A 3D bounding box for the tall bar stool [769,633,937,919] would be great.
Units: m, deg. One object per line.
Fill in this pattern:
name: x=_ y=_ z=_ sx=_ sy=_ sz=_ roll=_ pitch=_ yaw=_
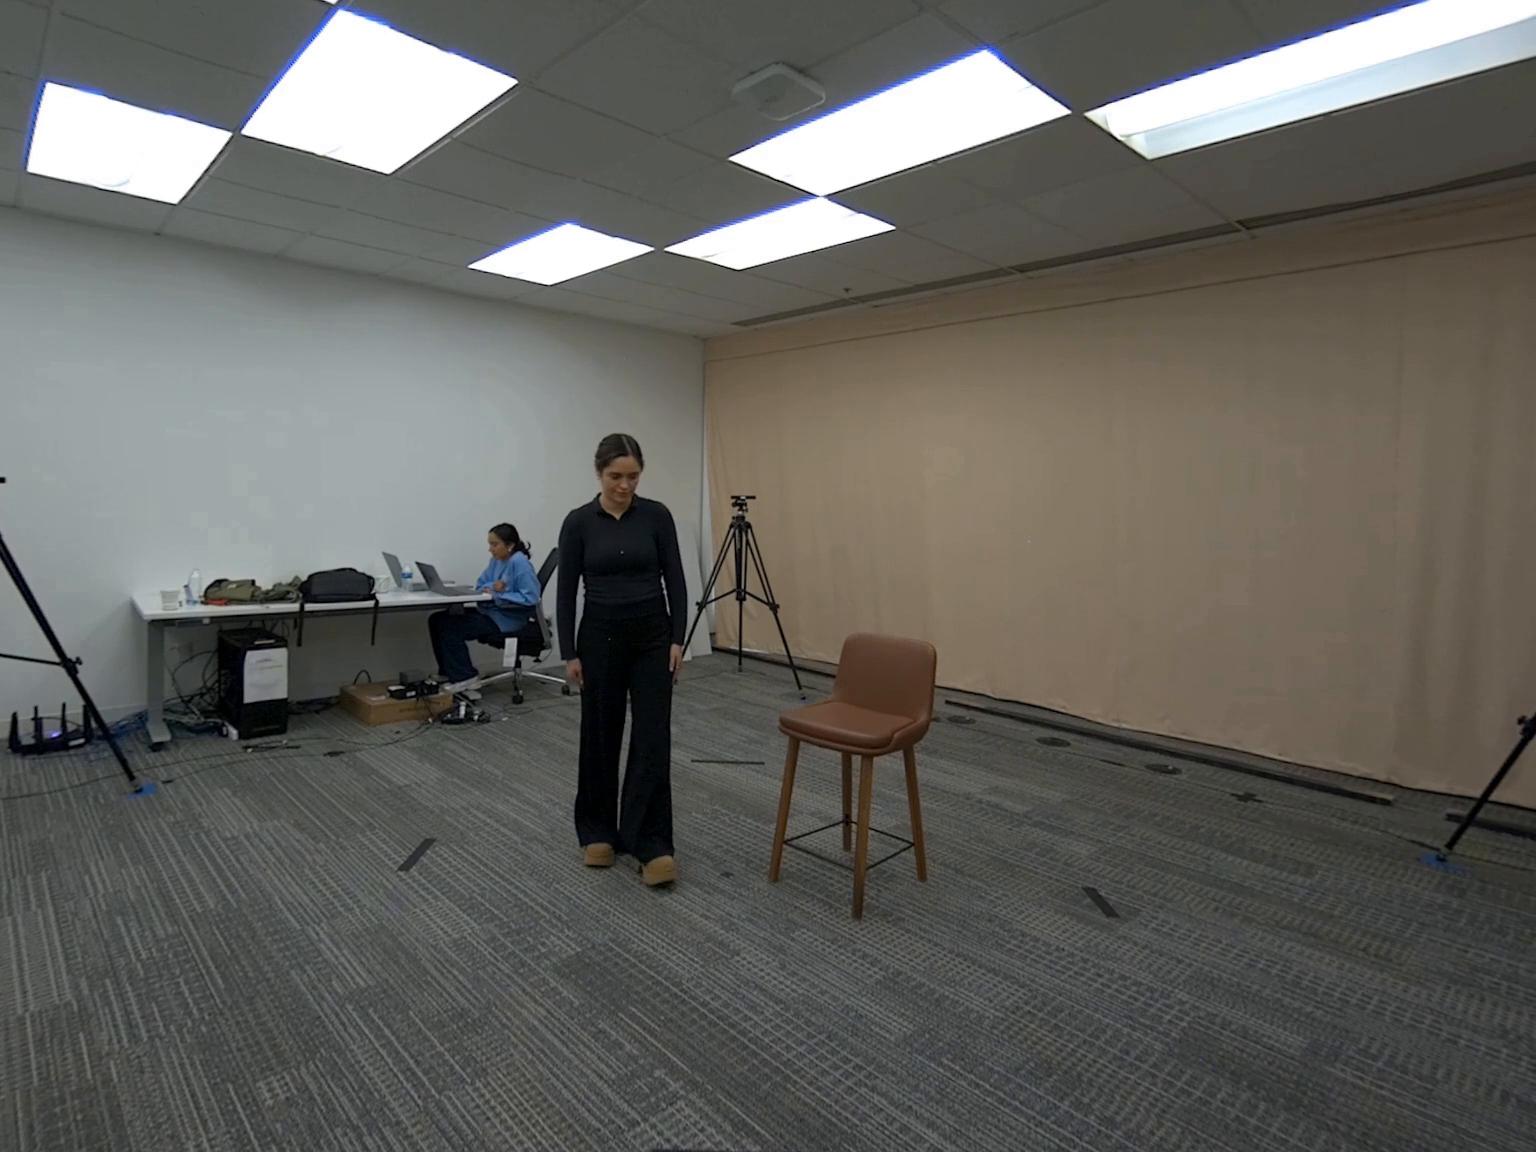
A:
tall bar stool: x=0.314 y=0.681 z=3.055 sx=0.468 sy=0.889 sz=0.456 roll=5 pitch=3 yaw=44
